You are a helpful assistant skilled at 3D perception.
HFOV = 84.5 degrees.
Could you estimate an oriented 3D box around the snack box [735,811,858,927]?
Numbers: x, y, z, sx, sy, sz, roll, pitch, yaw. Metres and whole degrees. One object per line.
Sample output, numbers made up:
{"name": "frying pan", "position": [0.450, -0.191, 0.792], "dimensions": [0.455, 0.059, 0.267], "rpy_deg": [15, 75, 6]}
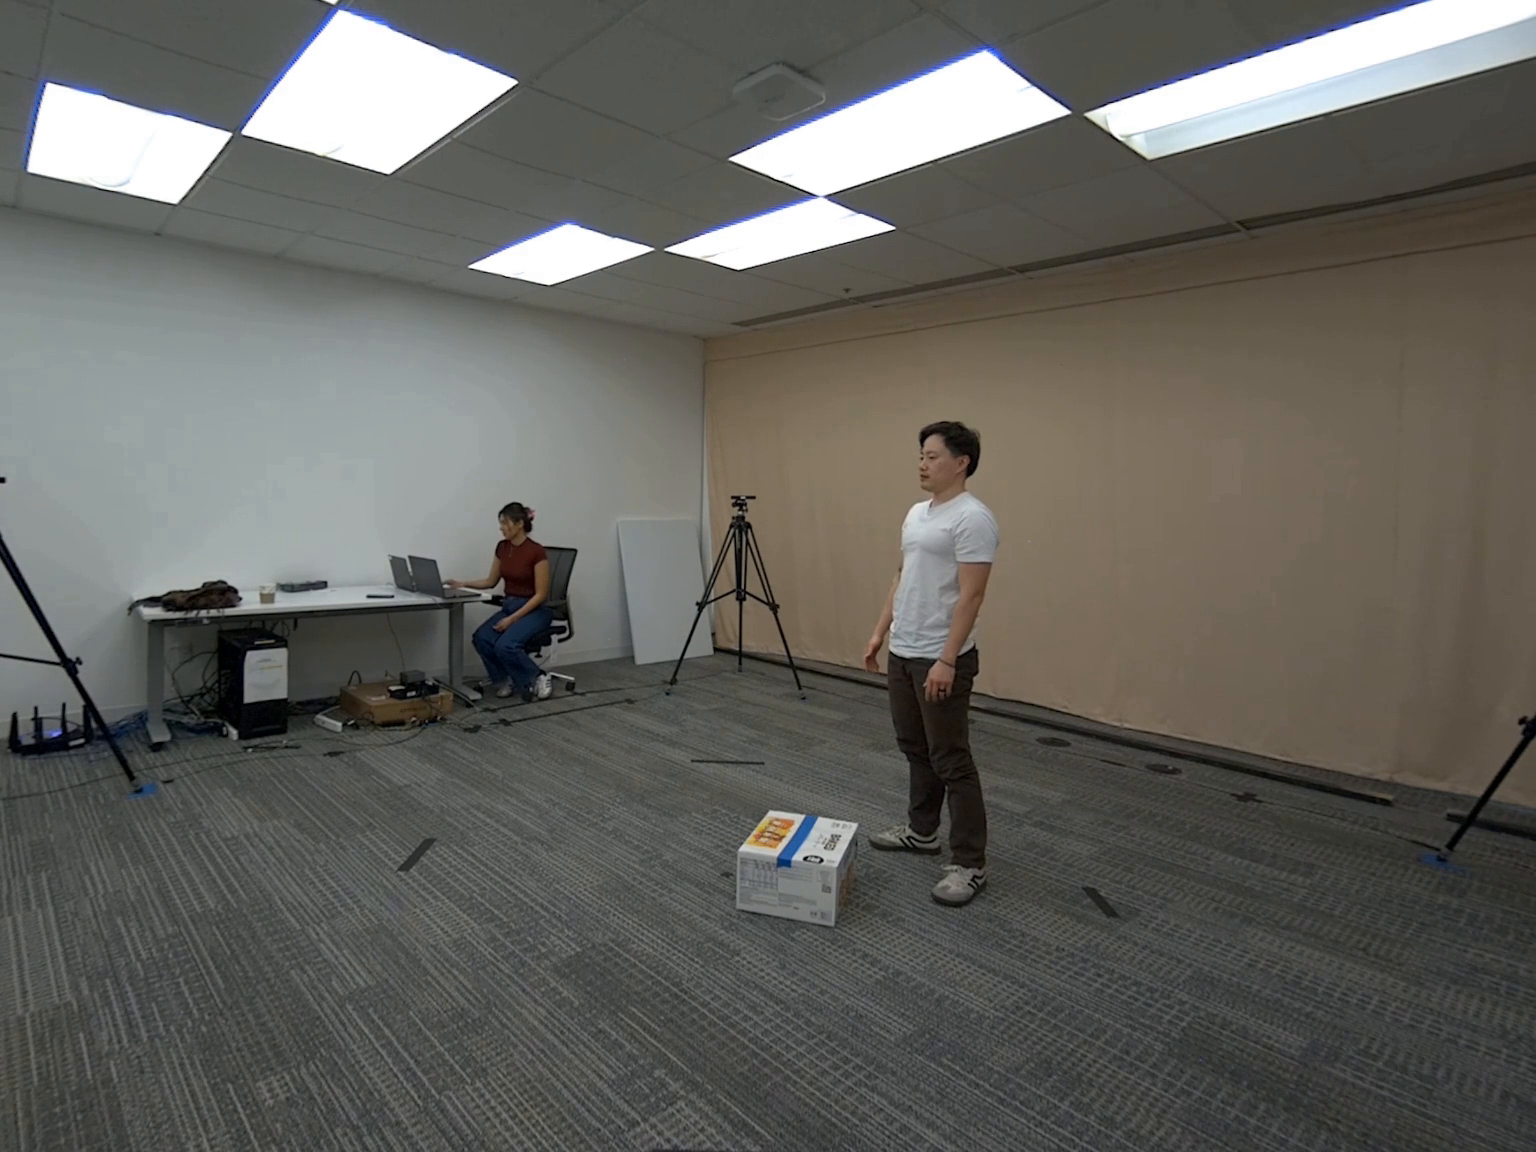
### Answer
{"name": "snack box", "position": [0.102, 1.018, 2.962], "dimensions": [0.345, 0.205, 0.400], "rpy_deg": [2, 5, 17]}
